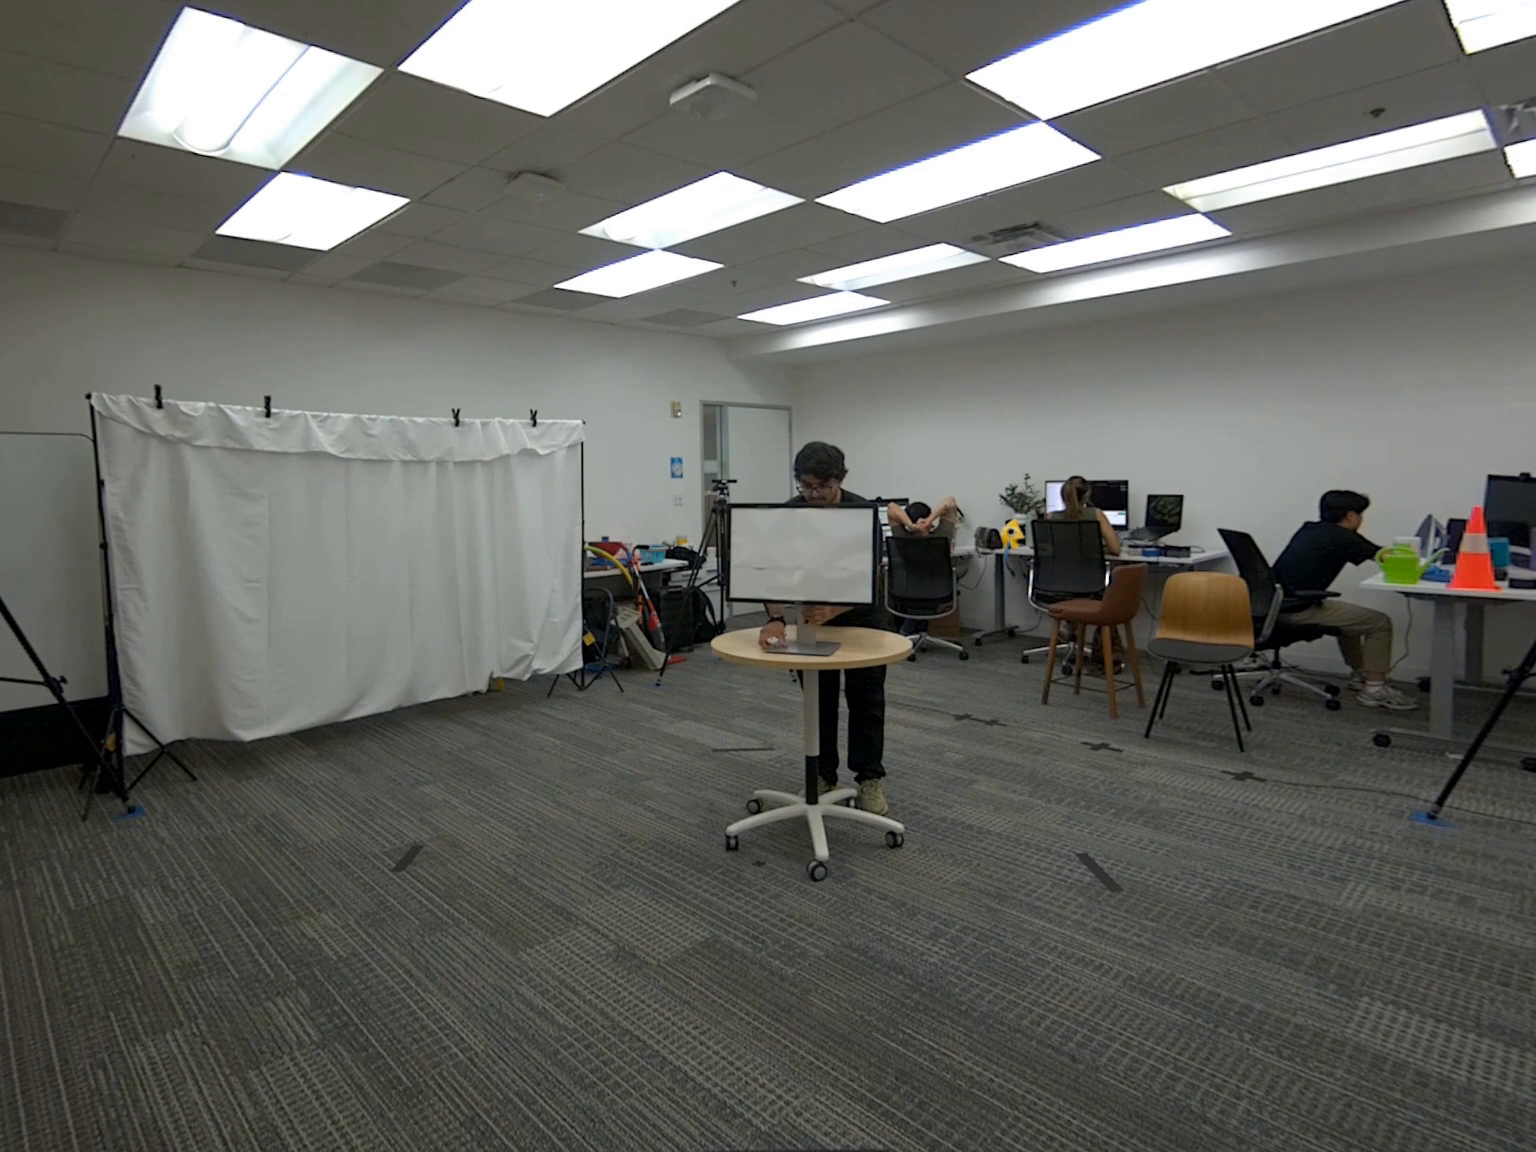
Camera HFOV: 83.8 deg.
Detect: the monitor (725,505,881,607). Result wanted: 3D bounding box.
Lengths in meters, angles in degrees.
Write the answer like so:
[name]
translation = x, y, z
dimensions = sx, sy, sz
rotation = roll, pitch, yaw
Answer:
[monitor]
translation = 0.134, 0.007, 3.126
dimensions = 0.576, 0.553, 0.206
rotation = 1, 2, 20
